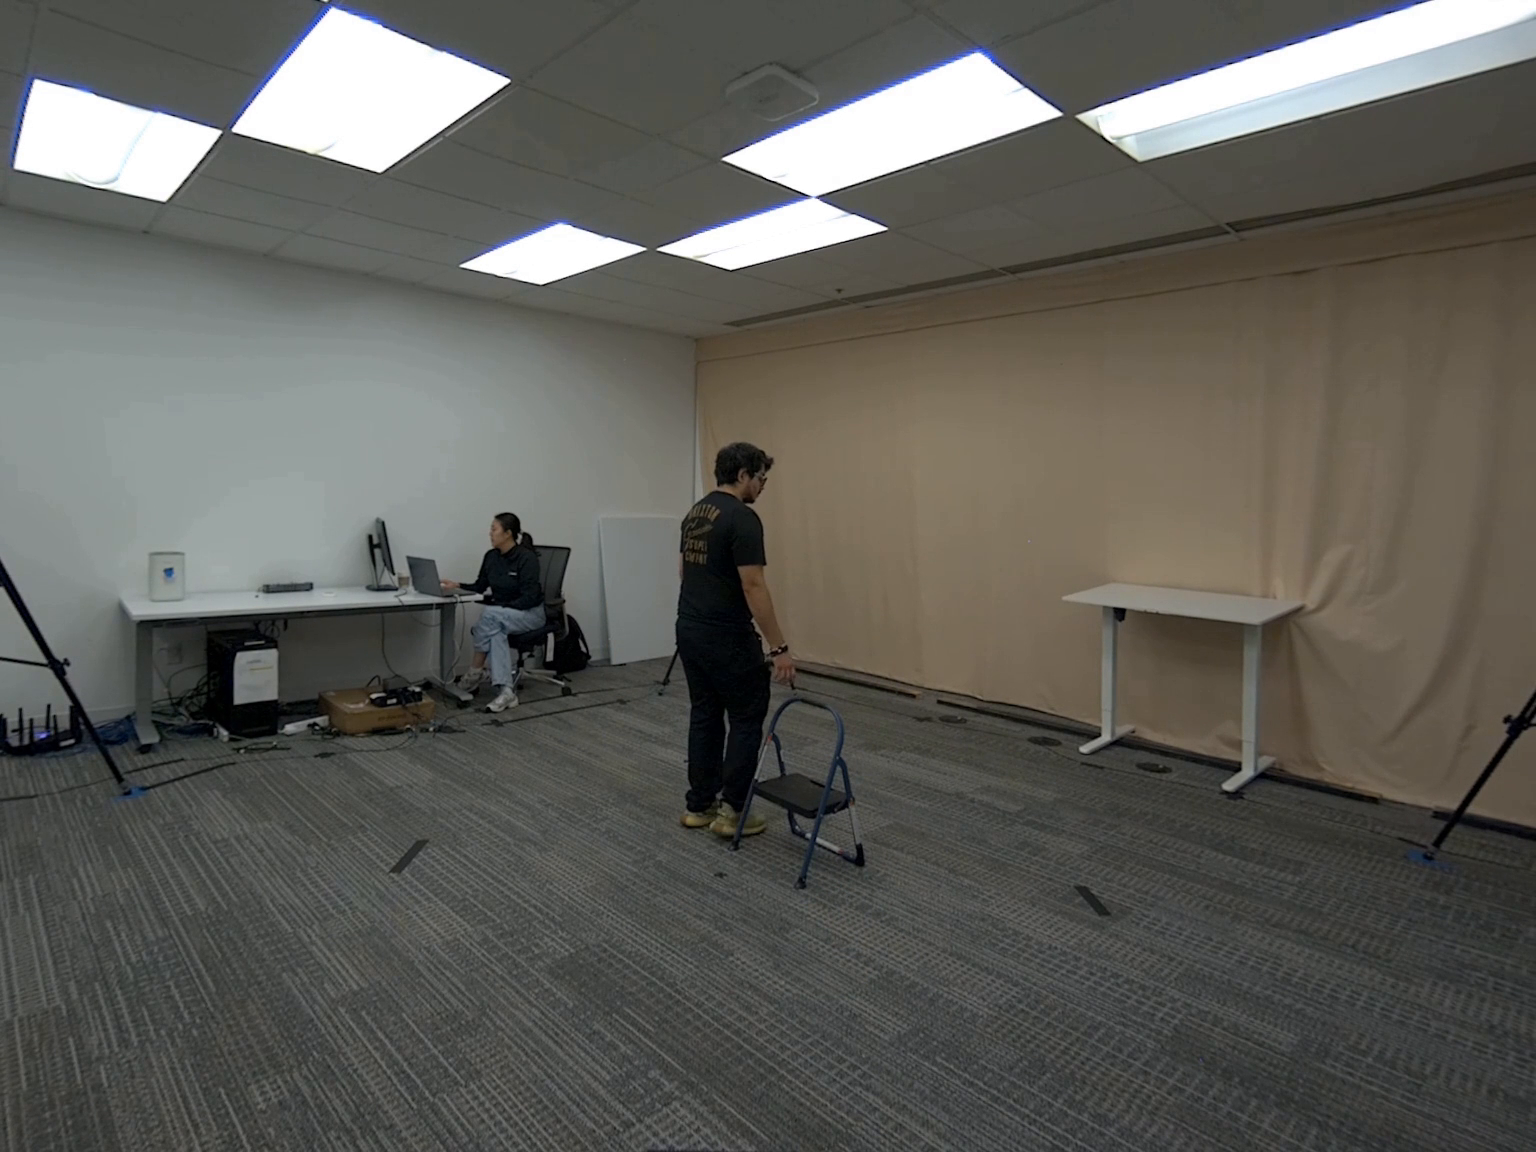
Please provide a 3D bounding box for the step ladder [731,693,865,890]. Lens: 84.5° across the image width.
[{"bbox_3d":[0.115,0.792,3.254,0.341,0.605,0.441,-1,4,-38],"label":"step ladder"}]
